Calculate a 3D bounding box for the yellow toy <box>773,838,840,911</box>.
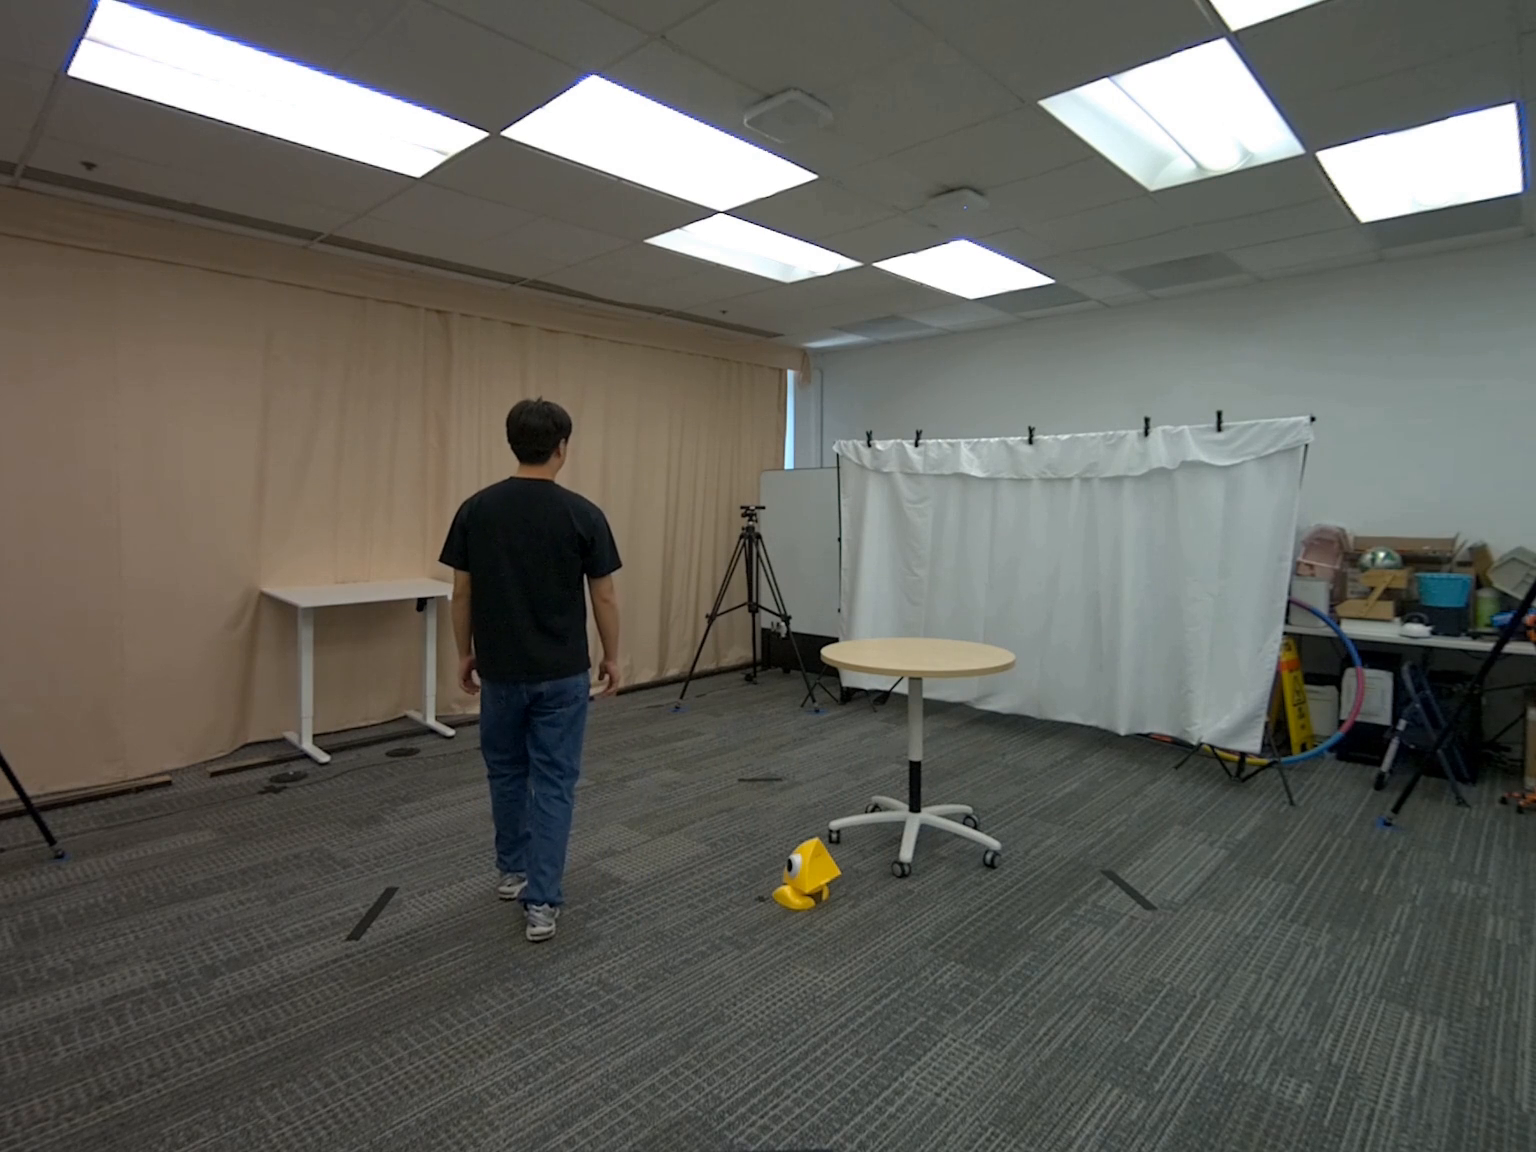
[{"bbox_3d":[0.129,1.032,2.987,0.199,0.230,0.198,3,5,42],"label":"yellow toy"}]
